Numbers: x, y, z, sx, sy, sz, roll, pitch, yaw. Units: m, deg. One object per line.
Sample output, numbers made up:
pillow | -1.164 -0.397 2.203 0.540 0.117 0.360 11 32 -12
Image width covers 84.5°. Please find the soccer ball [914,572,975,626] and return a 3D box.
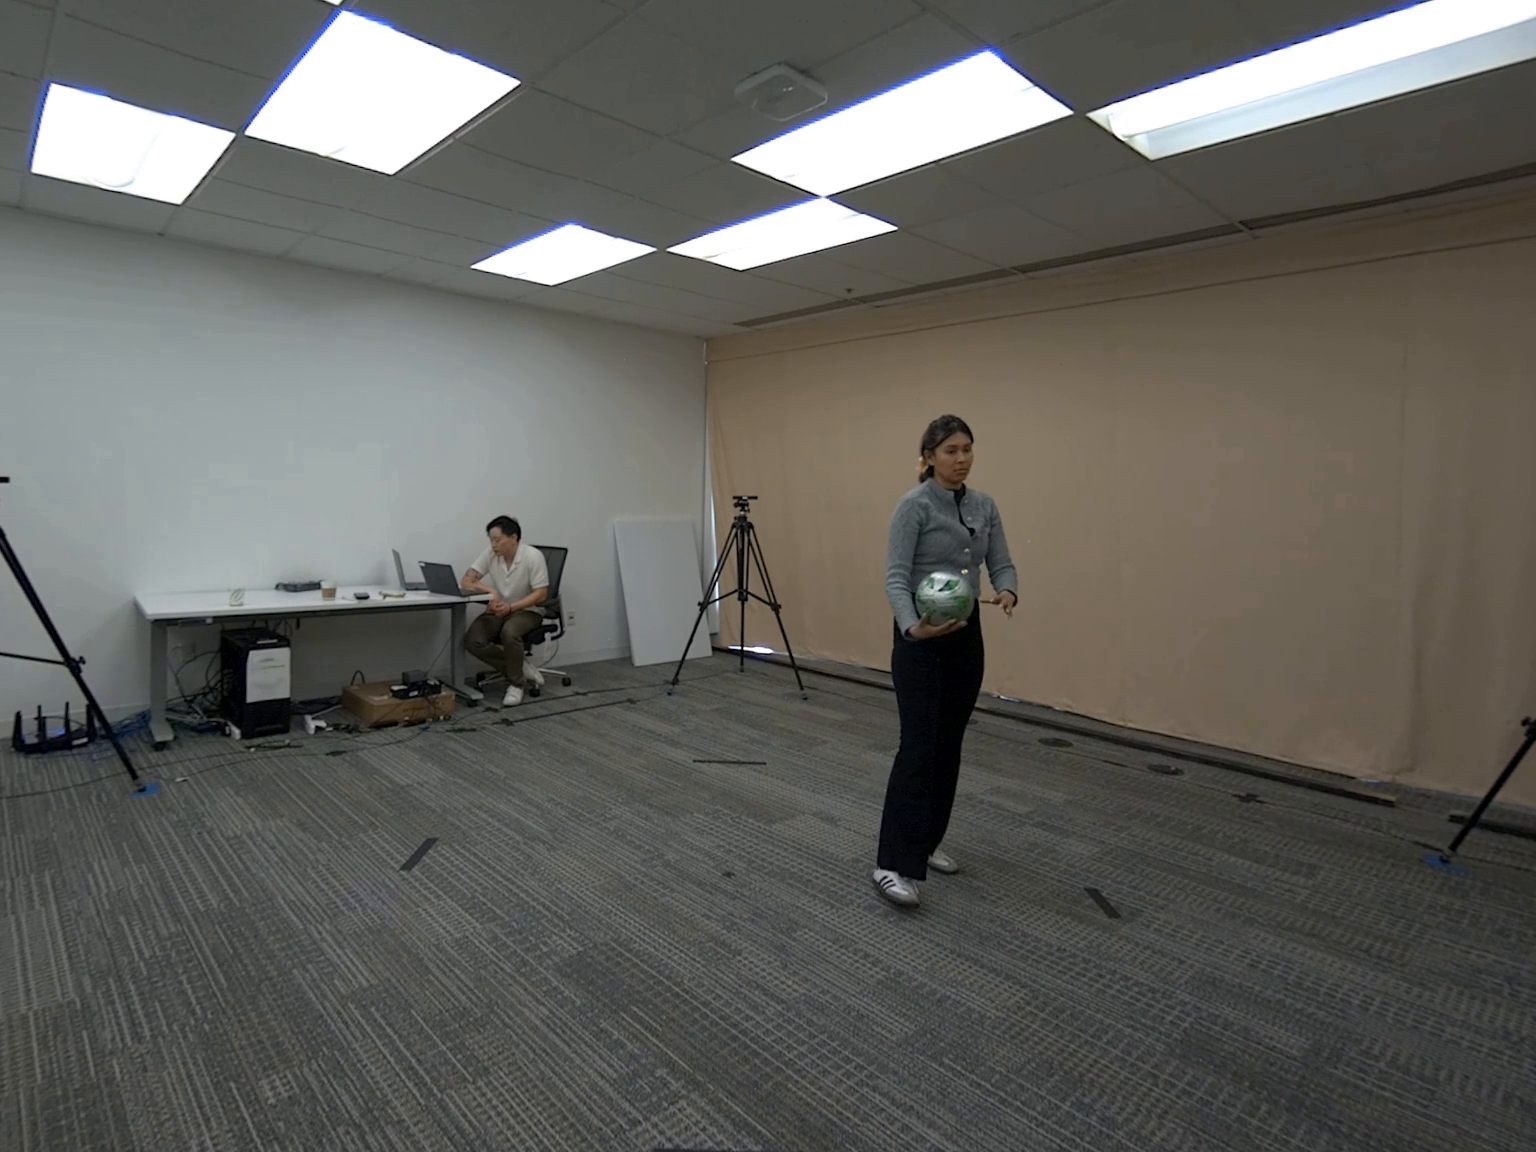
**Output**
soccer ball | 0.582 0.073 2.811 0.187 0.187 0.188 1 4 -1
